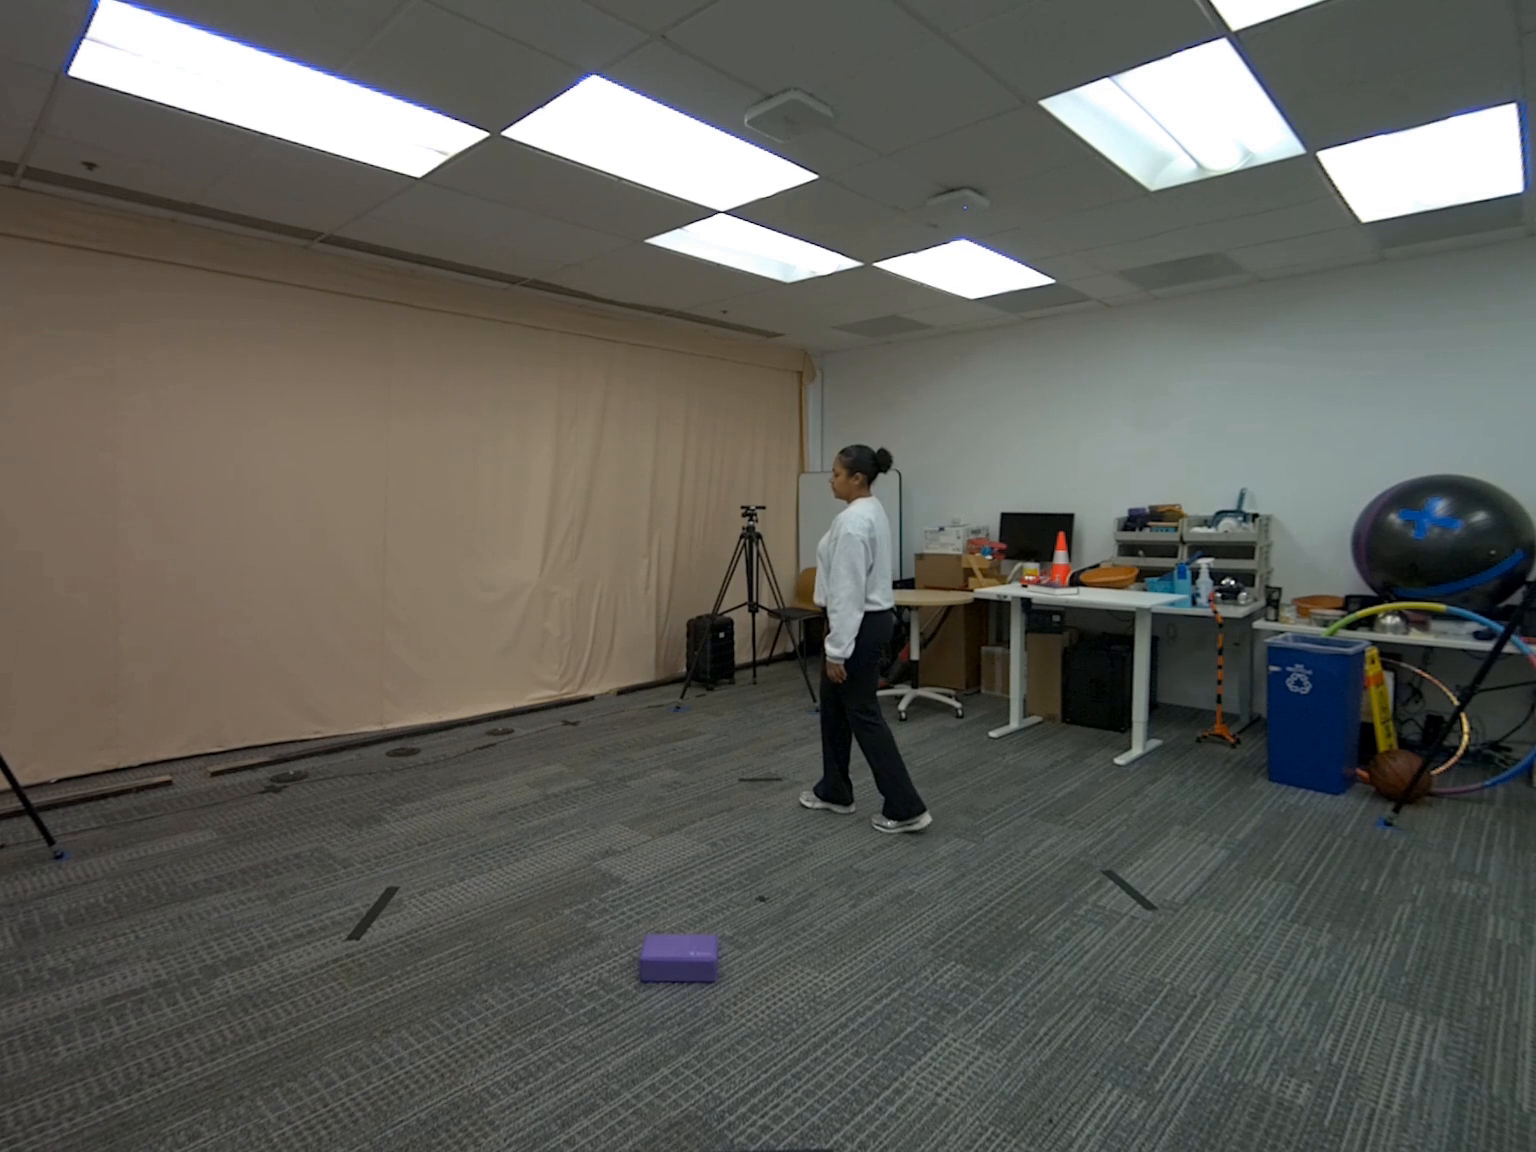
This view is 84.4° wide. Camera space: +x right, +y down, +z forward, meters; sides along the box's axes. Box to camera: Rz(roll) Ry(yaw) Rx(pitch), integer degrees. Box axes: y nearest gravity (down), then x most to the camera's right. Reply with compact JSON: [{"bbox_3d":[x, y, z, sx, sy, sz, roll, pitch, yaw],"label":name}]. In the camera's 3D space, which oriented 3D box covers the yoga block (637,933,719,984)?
[{"bbox_3d":[-0.264,1.144,2.520,0.230,0.076,0.149,0,2,1],"label":"yoga block"}]
